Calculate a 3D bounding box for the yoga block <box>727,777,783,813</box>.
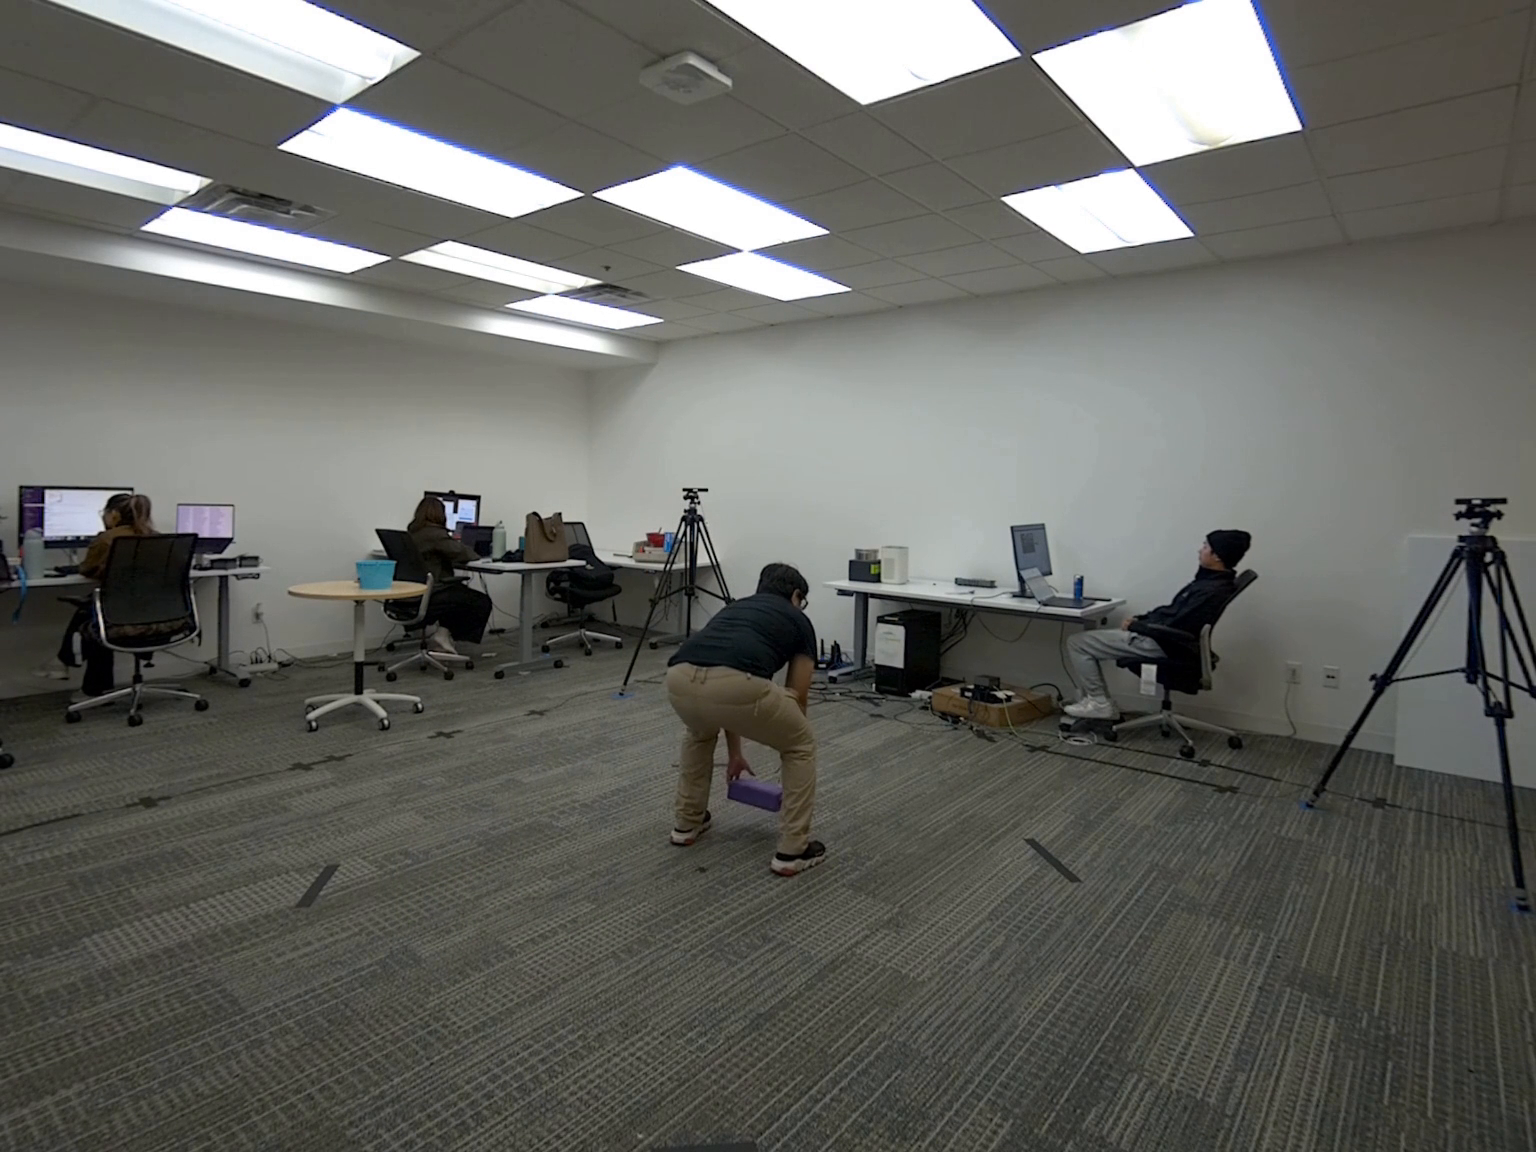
[{"bbox_3d":[-0.039,0.884,3.461,0.236,0.076,0.144,5,-2,32],"label":"yoga block"}]
